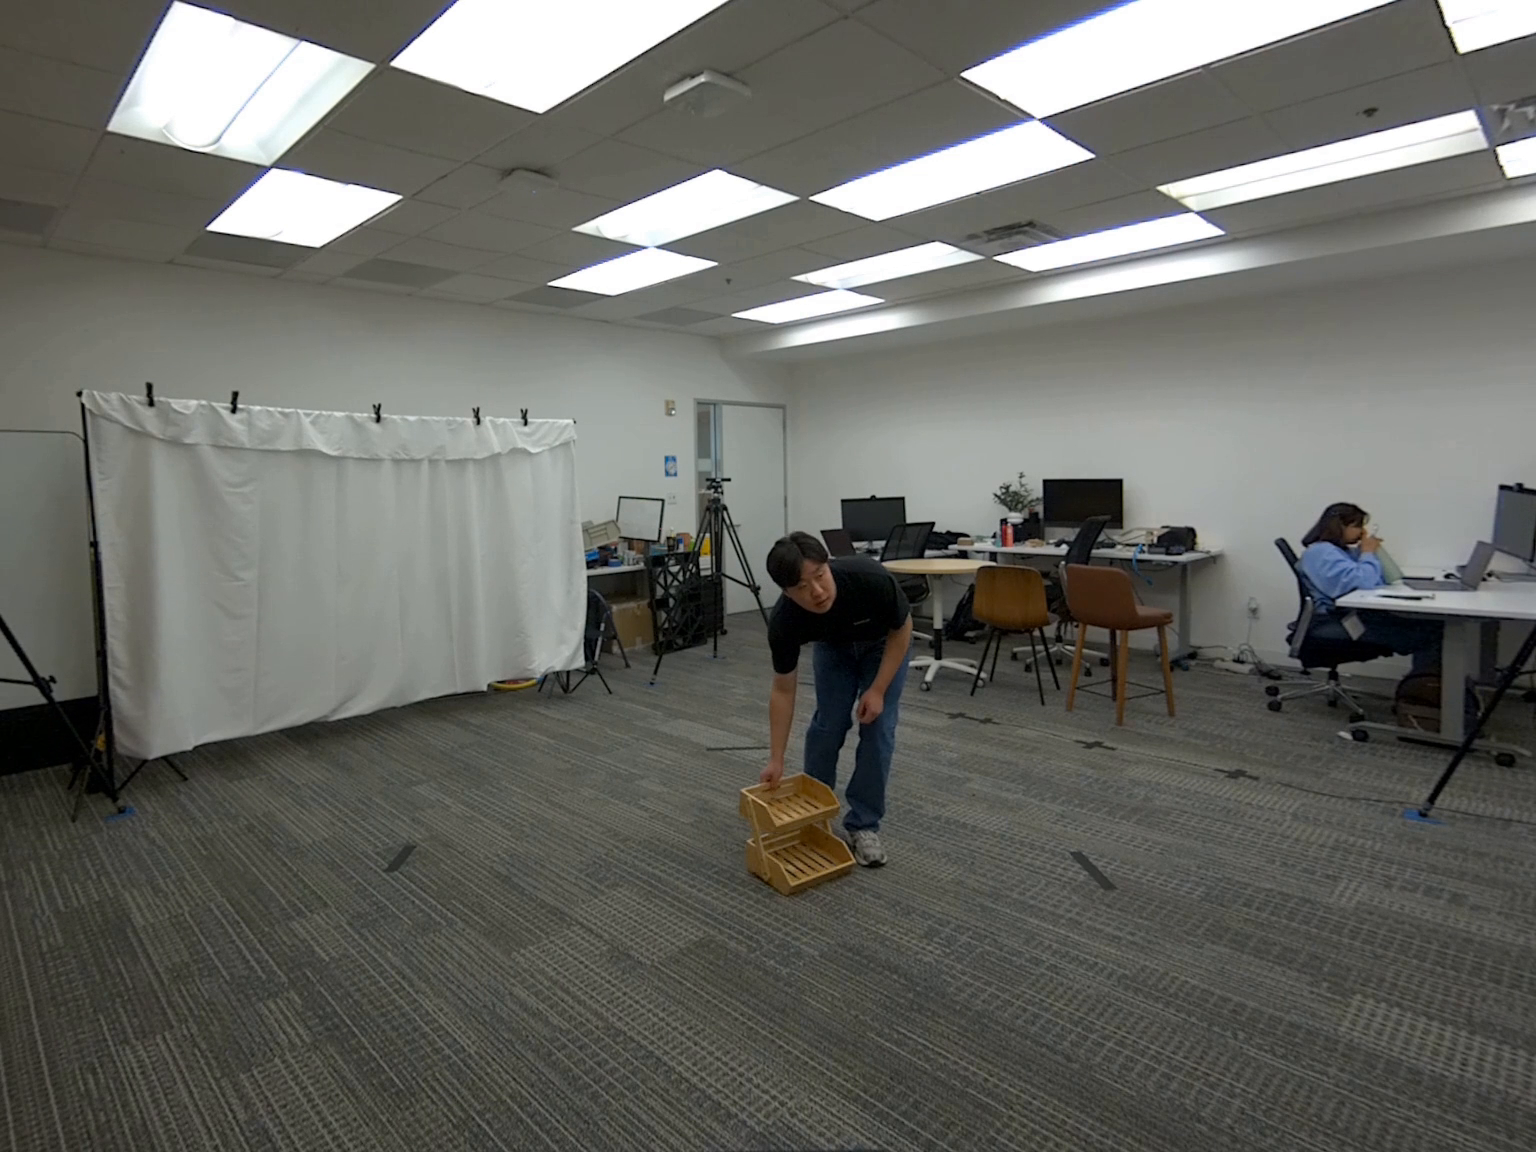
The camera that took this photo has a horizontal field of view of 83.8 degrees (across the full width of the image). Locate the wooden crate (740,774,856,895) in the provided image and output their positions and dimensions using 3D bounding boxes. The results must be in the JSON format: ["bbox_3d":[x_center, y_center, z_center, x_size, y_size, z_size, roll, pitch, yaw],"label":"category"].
[{"bbox_3d":[0.107,0.884,3.014,0.316,0.271,0.312,-4,11,-38],"label":"wooden crate"}]
